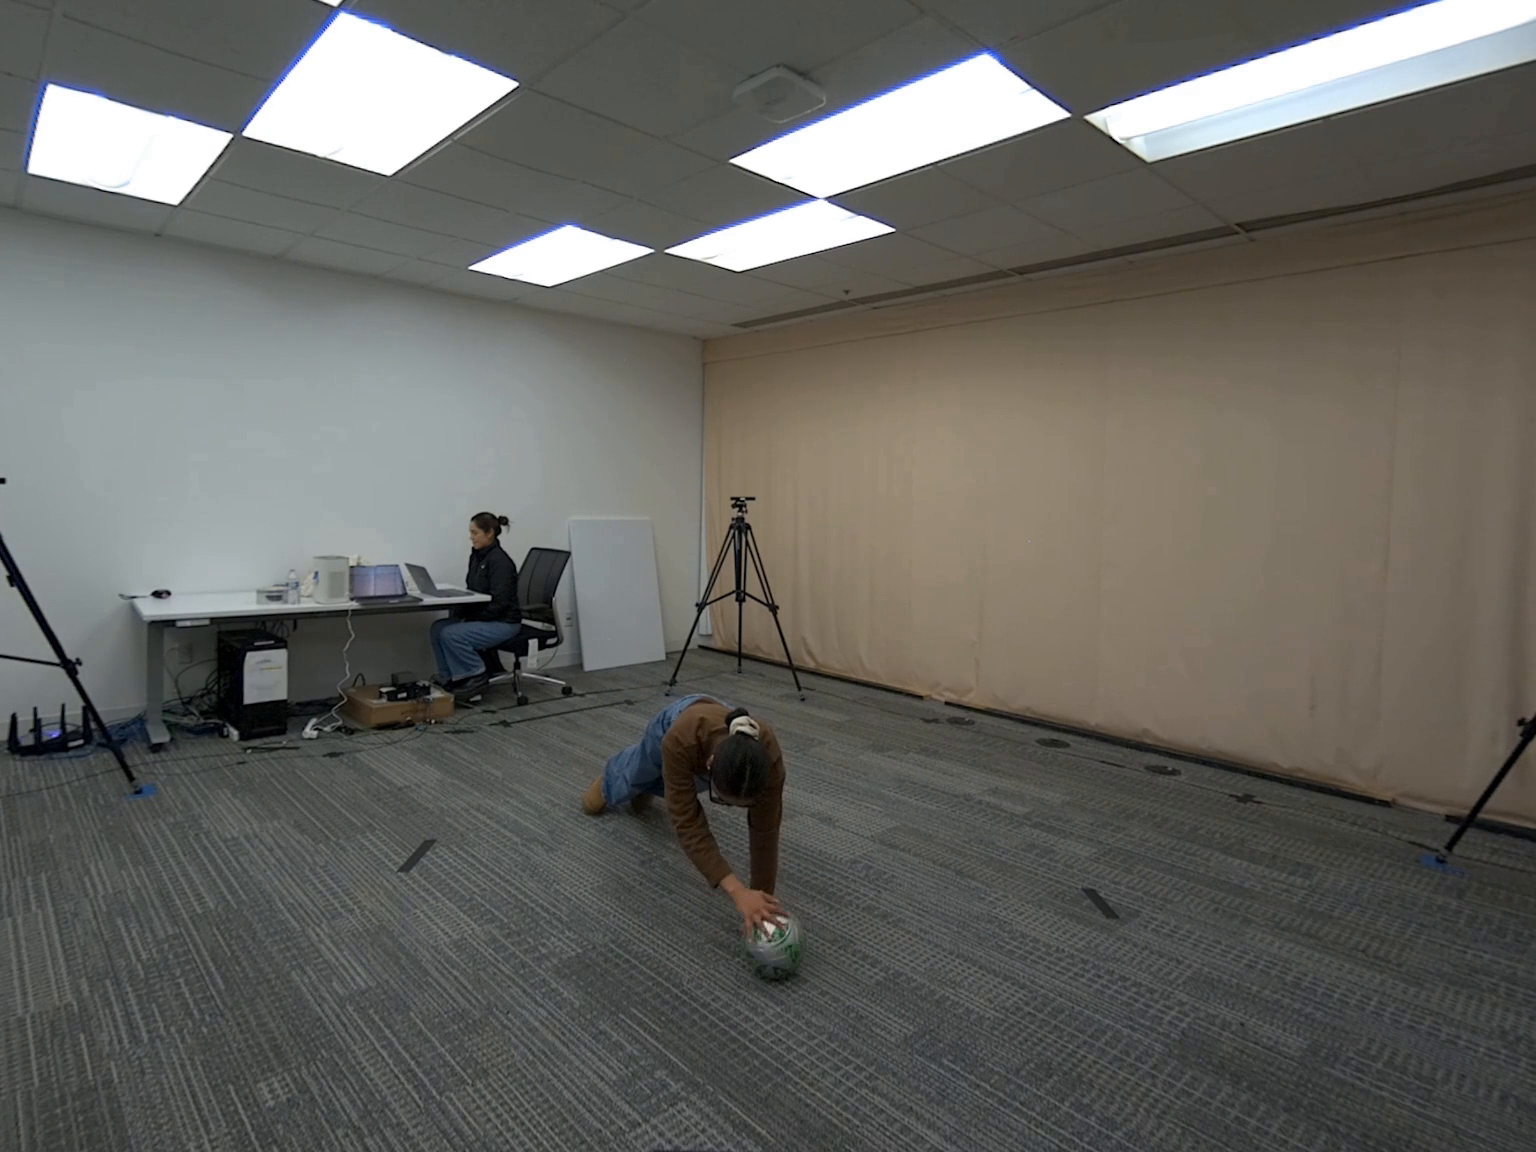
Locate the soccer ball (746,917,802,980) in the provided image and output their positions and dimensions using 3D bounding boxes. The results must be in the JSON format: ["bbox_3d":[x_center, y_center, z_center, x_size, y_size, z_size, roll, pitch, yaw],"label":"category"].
[{"bbox_3d":[0.005,1.076,2.480,0.187,0.187,0.188,1,4,-1],"label":"soccer ball"}]
